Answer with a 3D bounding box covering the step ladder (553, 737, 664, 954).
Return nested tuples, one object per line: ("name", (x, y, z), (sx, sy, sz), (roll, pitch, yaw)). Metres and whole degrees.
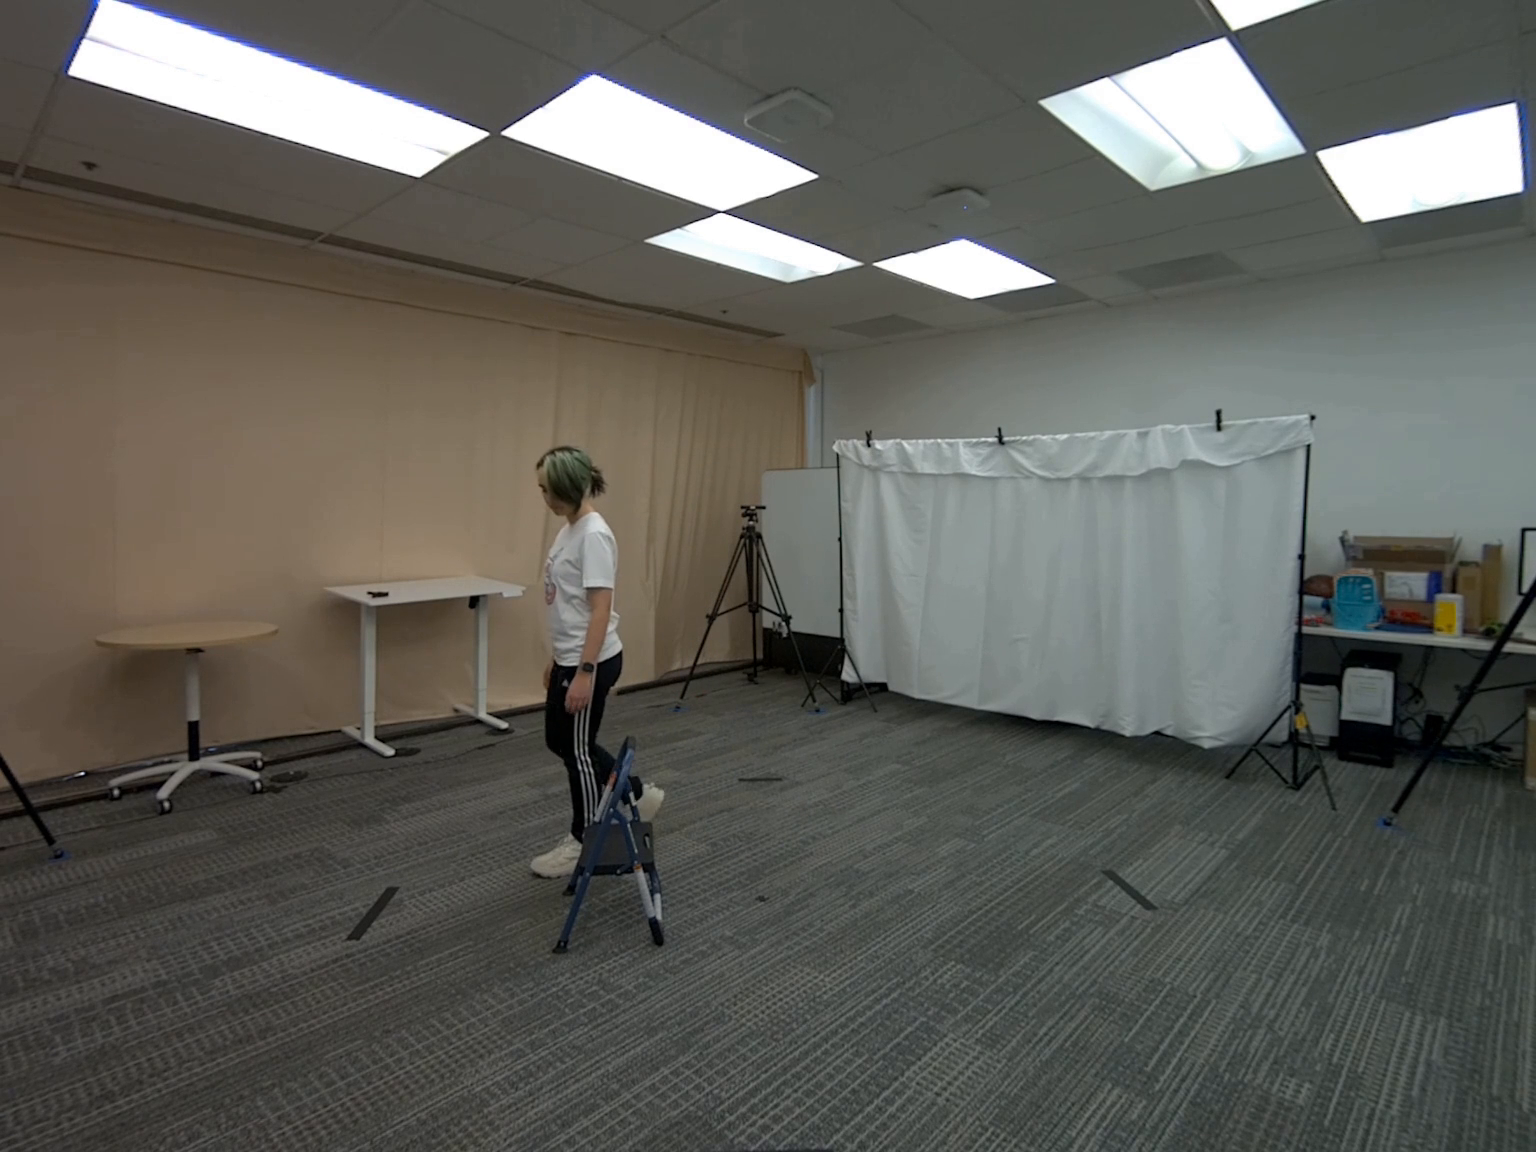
("step ladder", (-0.531, 0.859, 2.836), (0.346, 0.605, 0.435), (-1, 4, -8))
